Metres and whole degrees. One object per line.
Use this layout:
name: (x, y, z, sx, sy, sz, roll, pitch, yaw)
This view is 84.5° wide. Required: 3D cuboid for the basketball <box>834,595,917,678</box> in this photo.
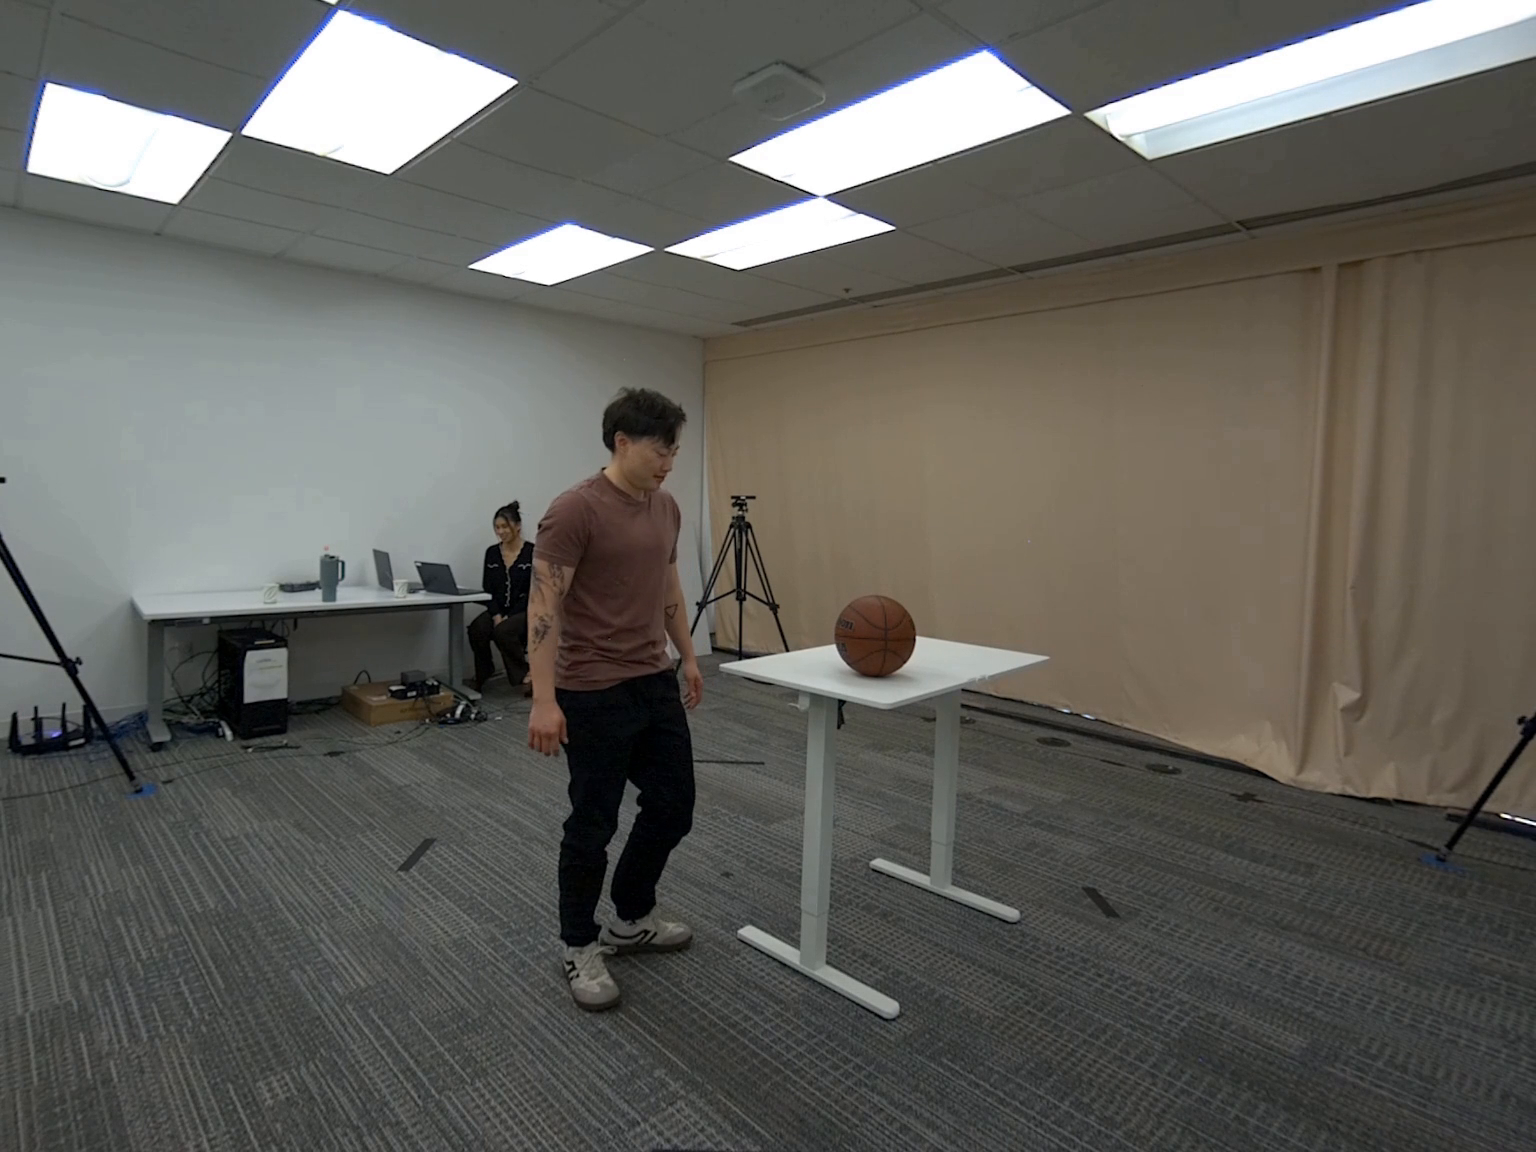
basketball: (0.310, 0.175, 2.454, 0.236, 0.235, 0.237, 1, 4, -1)
